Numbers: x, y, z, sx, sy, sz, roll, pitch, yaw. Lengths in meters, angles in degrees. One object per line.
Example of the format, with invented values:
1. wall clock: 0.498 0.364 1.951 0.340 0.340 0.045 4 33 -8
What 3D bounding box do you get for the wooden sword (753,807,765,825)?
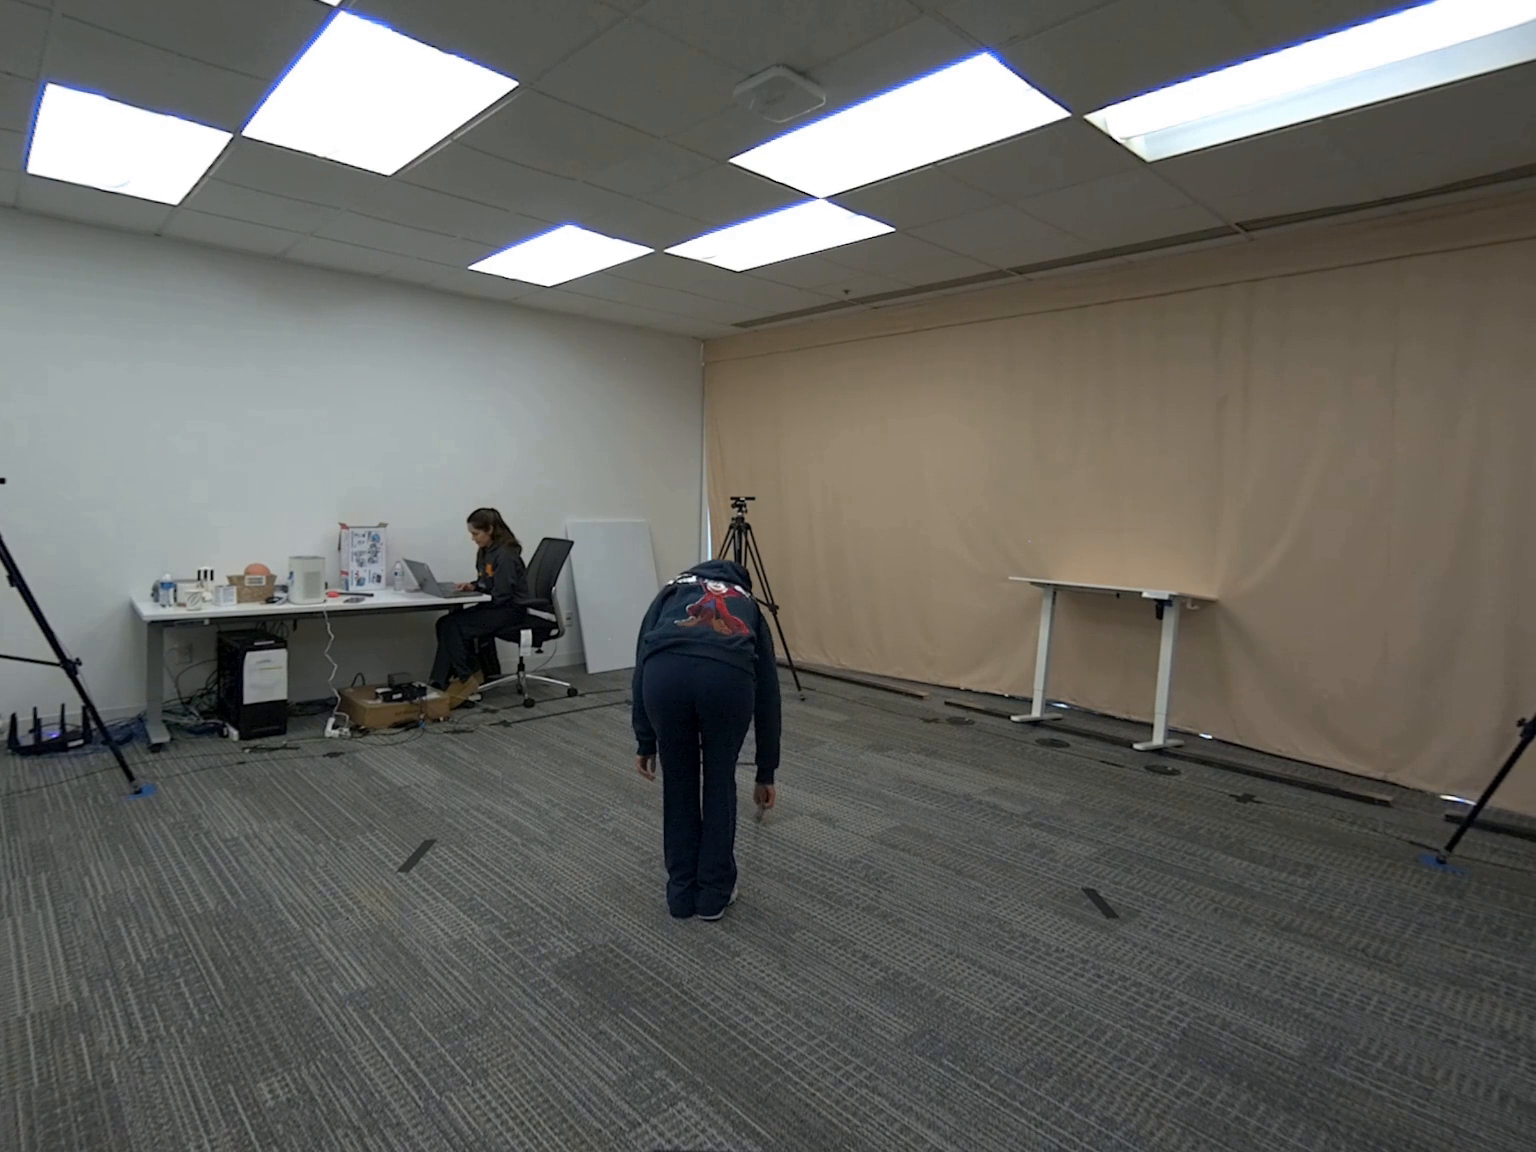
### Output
1. wooden sword: -0.019 0.895 3.239 0.051 0.024 1.012 -13 -18 -8
